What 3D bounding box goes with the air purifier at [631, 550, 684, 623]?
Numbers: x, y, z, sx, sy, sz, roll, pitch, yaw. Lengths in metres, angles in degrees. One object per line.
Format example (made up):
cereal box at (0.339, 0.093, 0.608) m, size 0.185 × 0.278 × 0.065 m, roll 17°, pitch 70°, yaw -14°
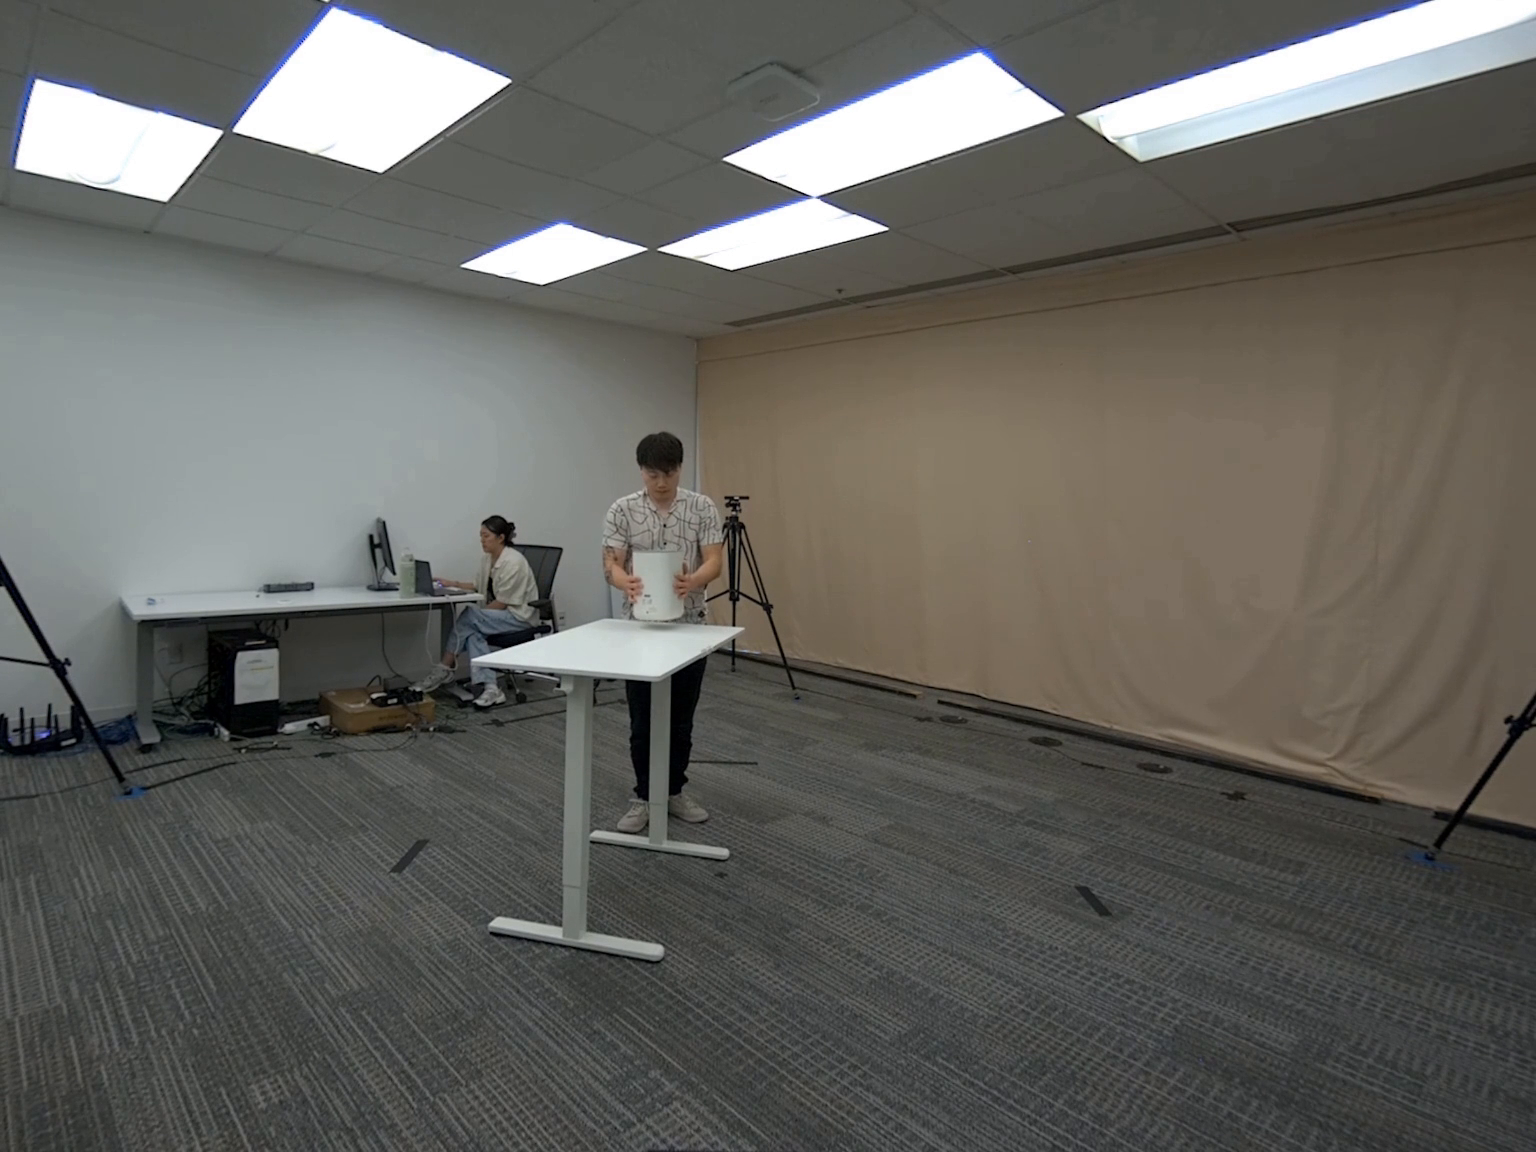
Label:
air purifier at (-0.441, 0.037, 3.262) m, size 0.174 × 0.265 × 0.169 m, roll 0°, pitch 2°, yaw 23°
